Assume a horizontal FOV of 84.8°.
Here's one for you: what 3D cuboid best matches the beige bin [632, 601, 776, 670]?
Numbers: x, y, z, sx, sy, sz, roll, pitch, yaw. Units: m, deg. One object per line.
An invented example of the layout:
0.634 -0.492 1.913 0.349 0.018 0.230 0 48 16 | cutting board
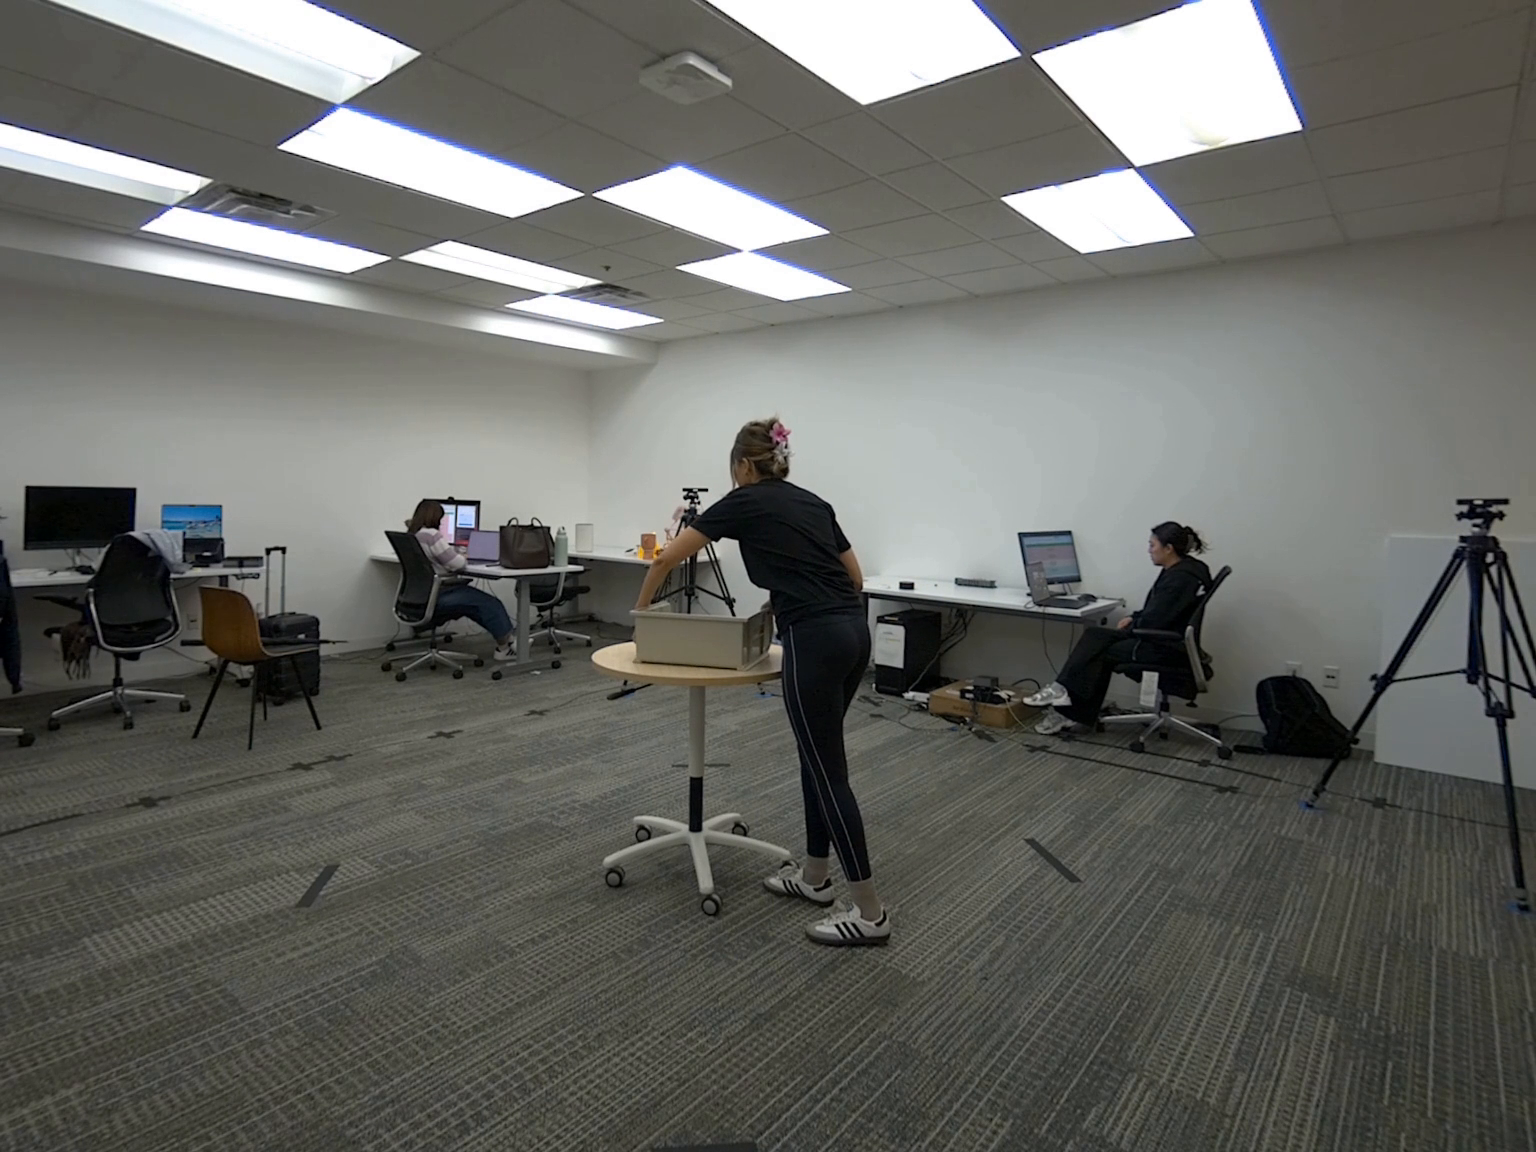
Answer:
-0.238 0.202 3.041 0.431 0.188 0.372 3 7 18 | beige bin
